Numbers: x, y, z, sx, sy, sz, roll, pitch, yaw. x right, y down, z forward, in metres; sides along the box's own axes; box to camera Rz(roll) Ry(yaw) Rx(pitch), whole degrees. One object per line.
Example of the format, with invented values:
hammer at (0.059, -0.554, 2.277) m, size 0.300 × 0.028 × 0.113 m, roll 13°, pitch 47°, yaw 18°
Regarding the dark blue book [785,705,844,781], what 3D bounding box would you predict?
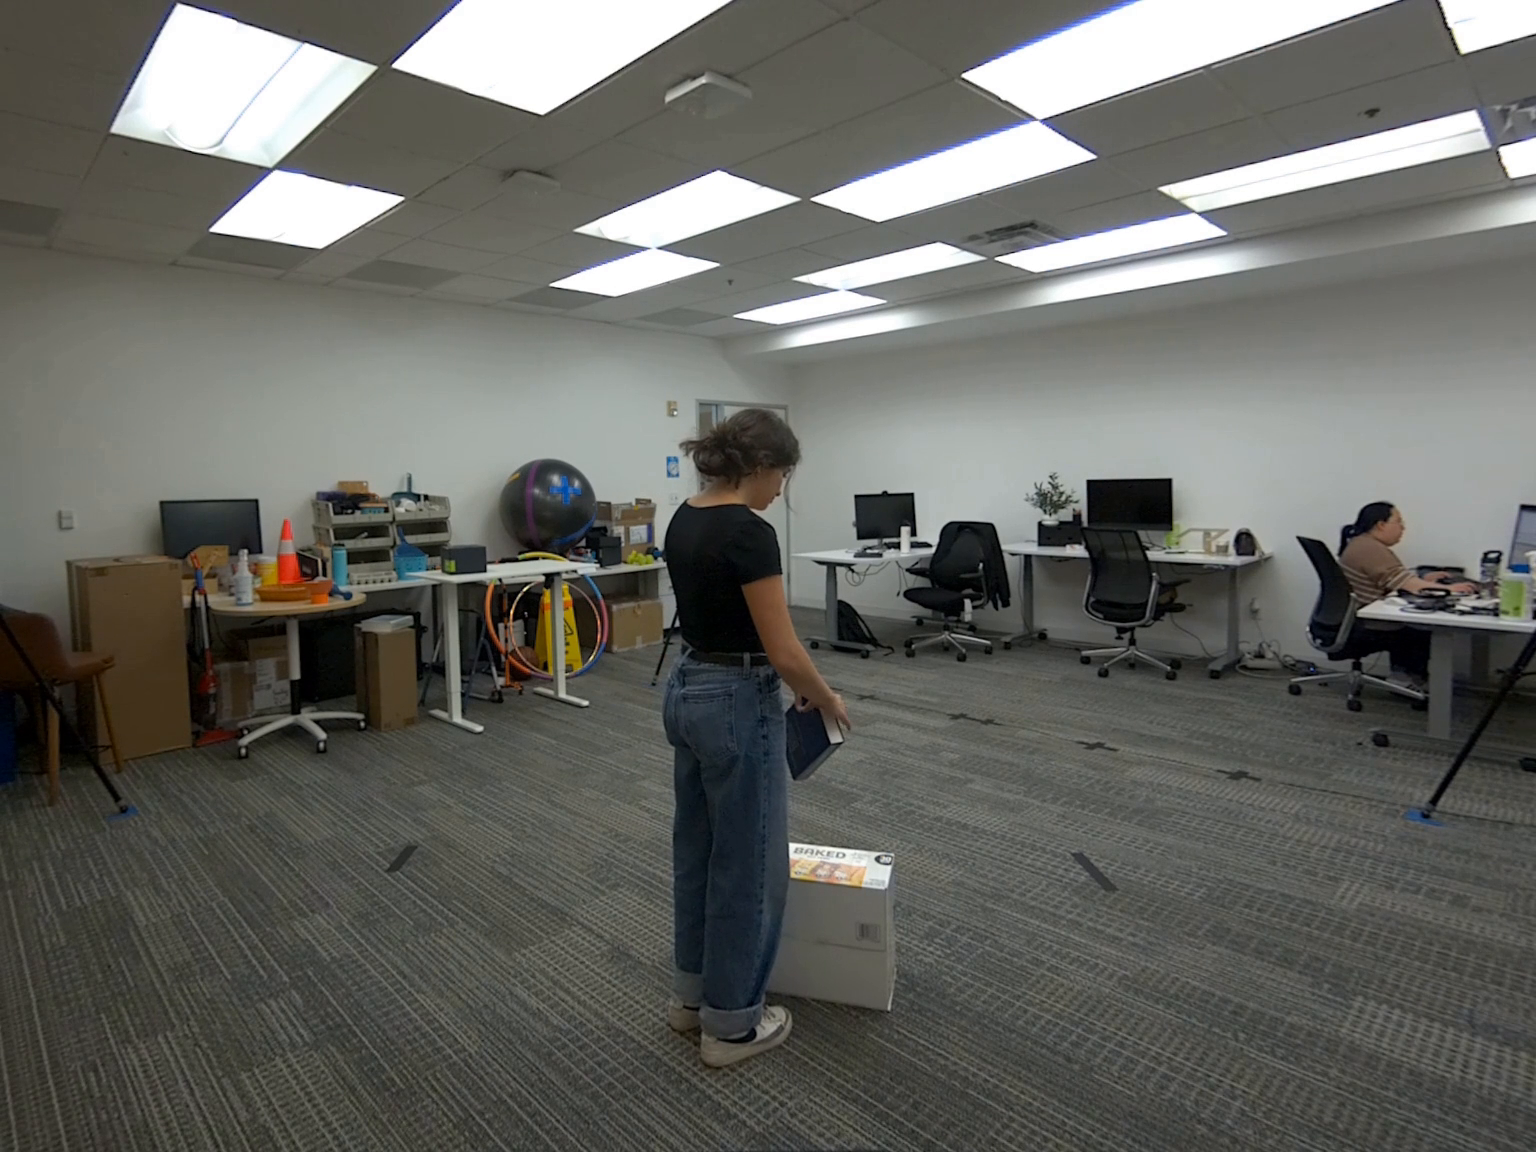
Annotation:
dark blue book at (0.106, 0.411, 2.199) m, size 0.044 × 0.168 × 0.242 m, roll -6°, pitch -32°, yaw -23°
